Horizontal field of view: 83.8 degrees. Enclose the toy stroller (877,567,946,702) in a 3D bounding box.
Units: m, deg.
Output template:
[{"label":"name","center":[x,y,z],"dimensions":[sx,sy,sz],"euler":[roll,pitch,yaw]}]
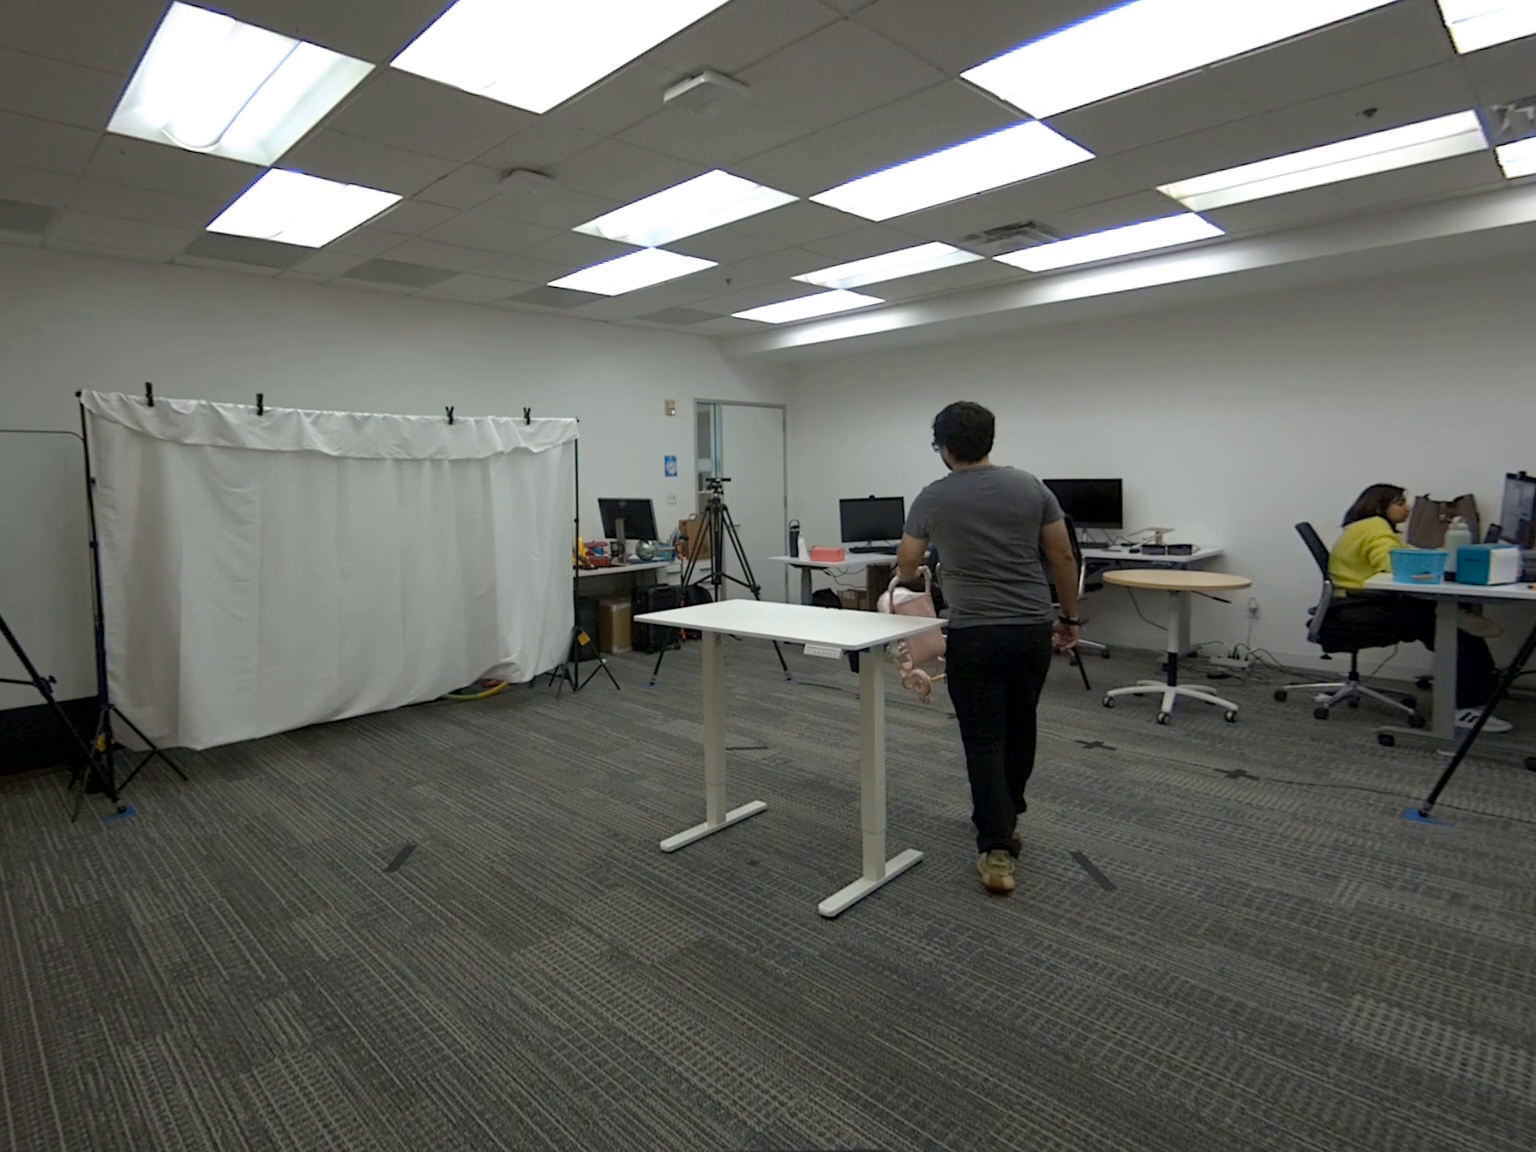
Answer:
[{"label":"toy stroller","center":[0.622,0.267,3.572],"dimensions":[0.278,0.541,0.341],"euler":[-19,-9,-20]}]
